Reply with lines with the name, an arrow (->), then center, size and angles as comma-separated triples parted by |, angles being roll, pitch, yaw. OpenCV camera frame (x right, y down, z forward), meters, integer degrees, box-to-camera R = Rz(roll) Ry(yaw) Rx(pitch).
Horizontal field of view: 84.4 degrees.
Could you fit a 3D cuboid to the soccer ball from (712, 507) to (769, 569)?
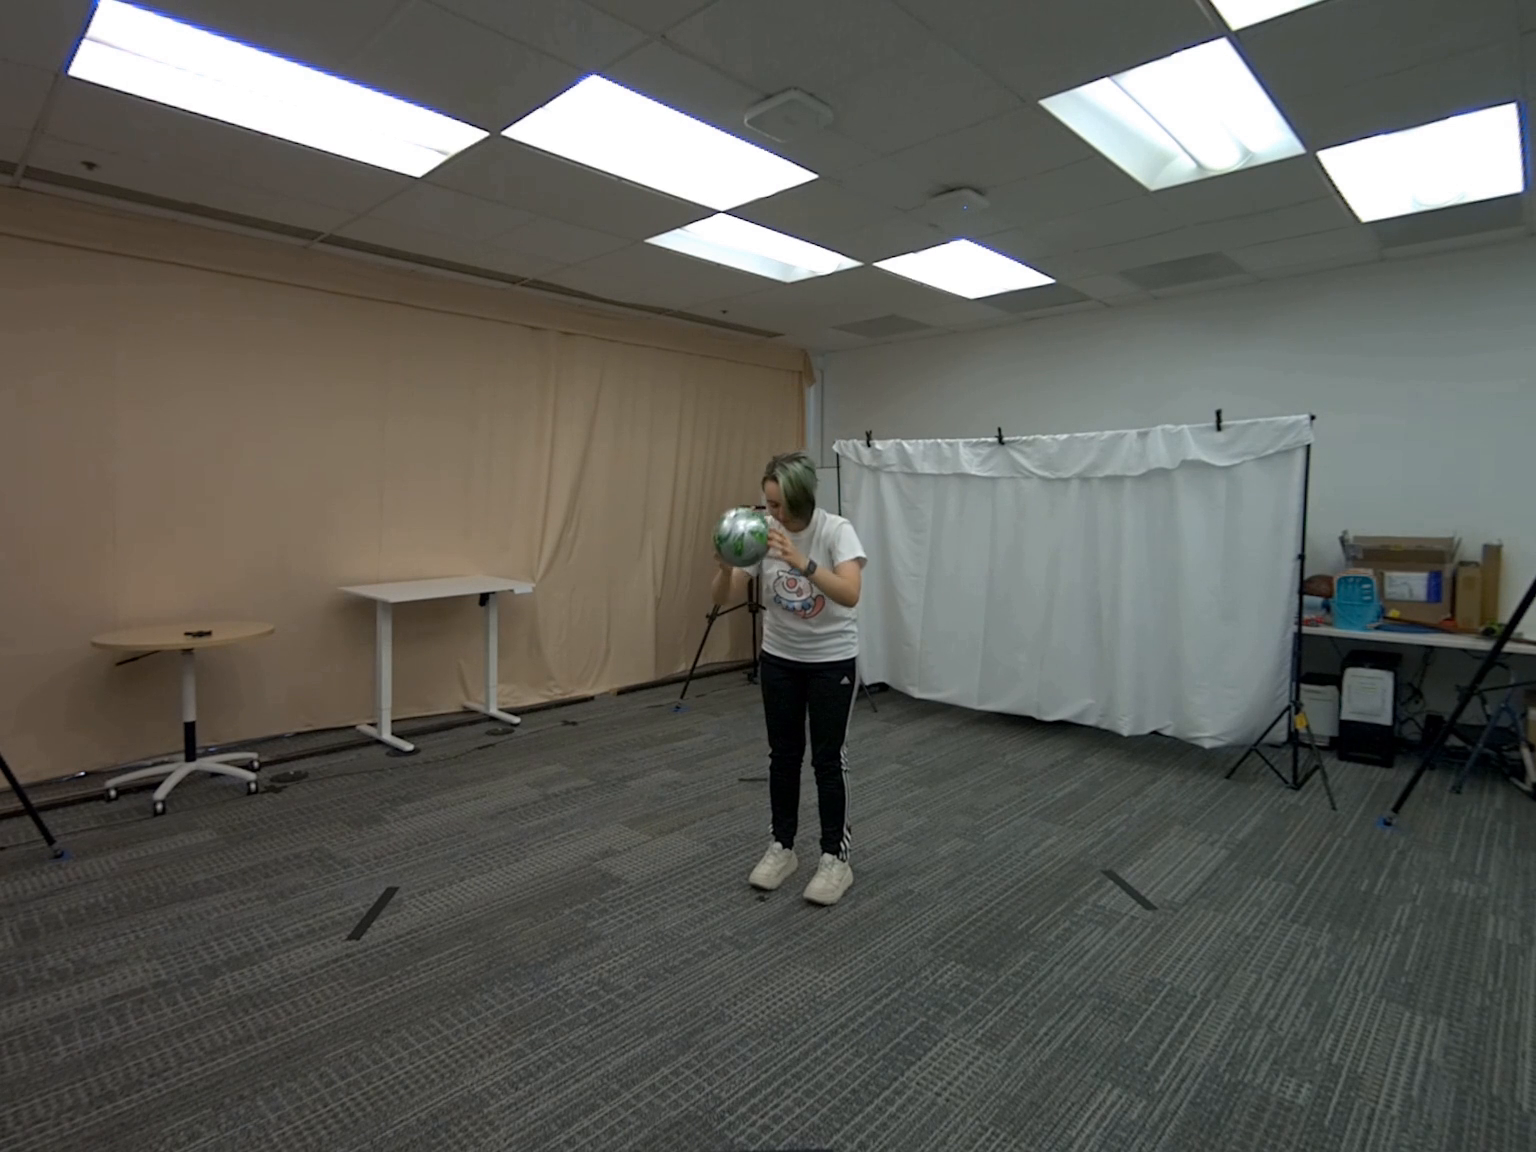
soccer ball -> -0.073, -0.123, 2.618 | 0.187, 0.187, 0.188 | 0, 4, -2
